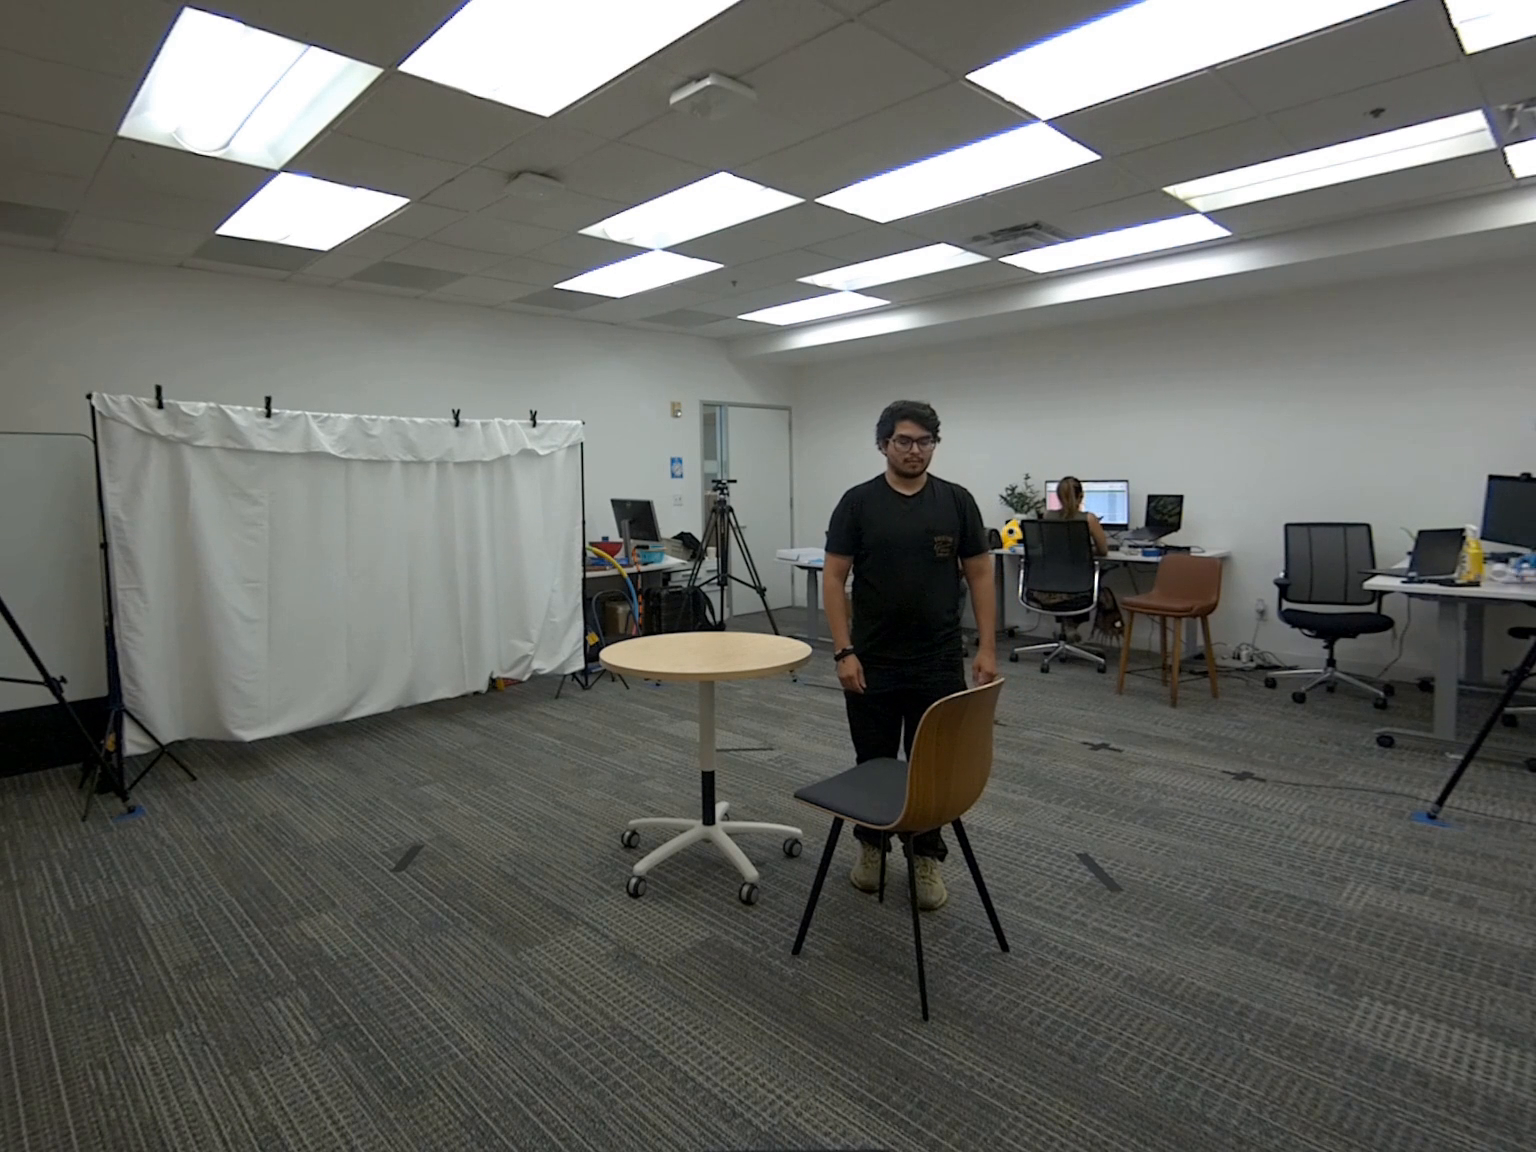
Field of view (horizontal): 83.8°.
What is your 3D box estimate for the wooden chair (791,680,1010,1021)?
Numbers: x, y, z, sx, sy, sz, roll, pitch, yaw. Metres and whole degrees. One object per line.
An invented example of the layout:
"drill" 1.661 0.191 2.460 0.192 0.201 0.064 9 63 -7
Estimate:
"wooden chair" 0.377 0.684 2.479 0.540 0.871 0.466 9 11 43
